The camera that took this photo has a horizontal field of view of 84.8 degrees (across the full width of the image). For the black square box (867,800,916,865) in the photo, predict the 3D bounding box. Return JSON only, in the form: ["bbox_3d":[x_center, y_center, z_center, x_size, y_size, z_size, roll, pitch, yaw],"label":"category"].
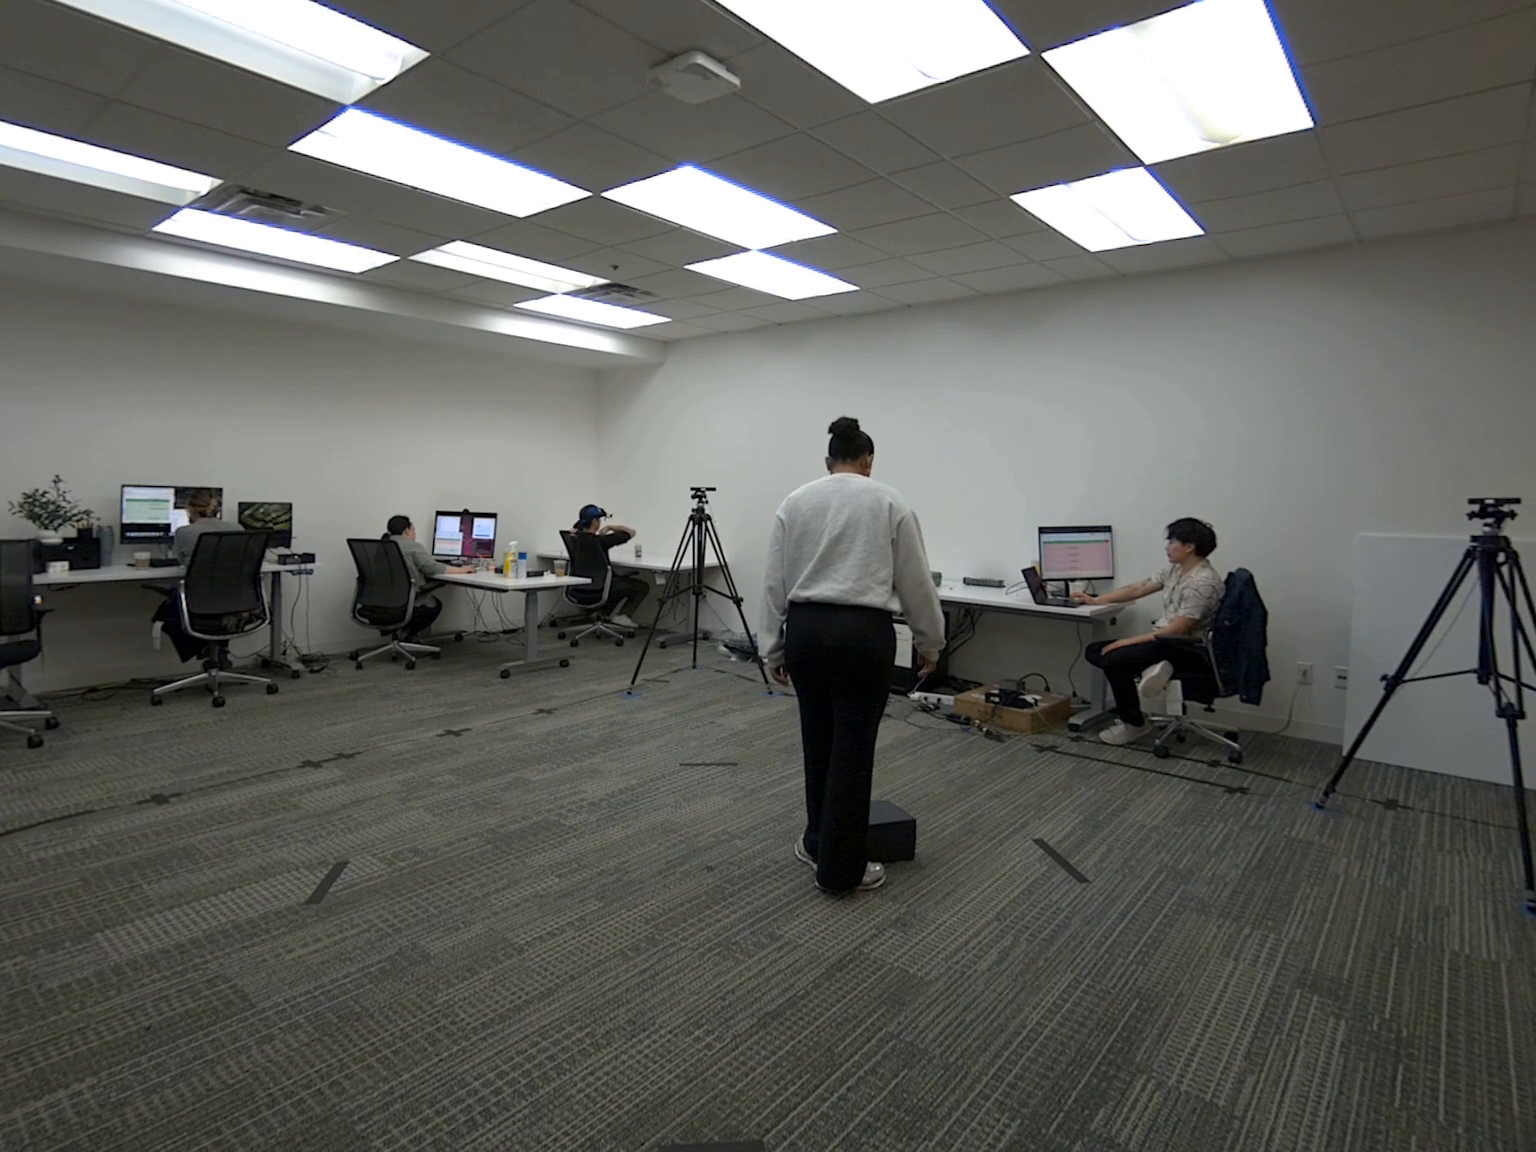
[{"bbox_3d":[0.405,0.975,3.285,0.223,0.155,0.222,-1,4,-21],"label":"black square box"}]
